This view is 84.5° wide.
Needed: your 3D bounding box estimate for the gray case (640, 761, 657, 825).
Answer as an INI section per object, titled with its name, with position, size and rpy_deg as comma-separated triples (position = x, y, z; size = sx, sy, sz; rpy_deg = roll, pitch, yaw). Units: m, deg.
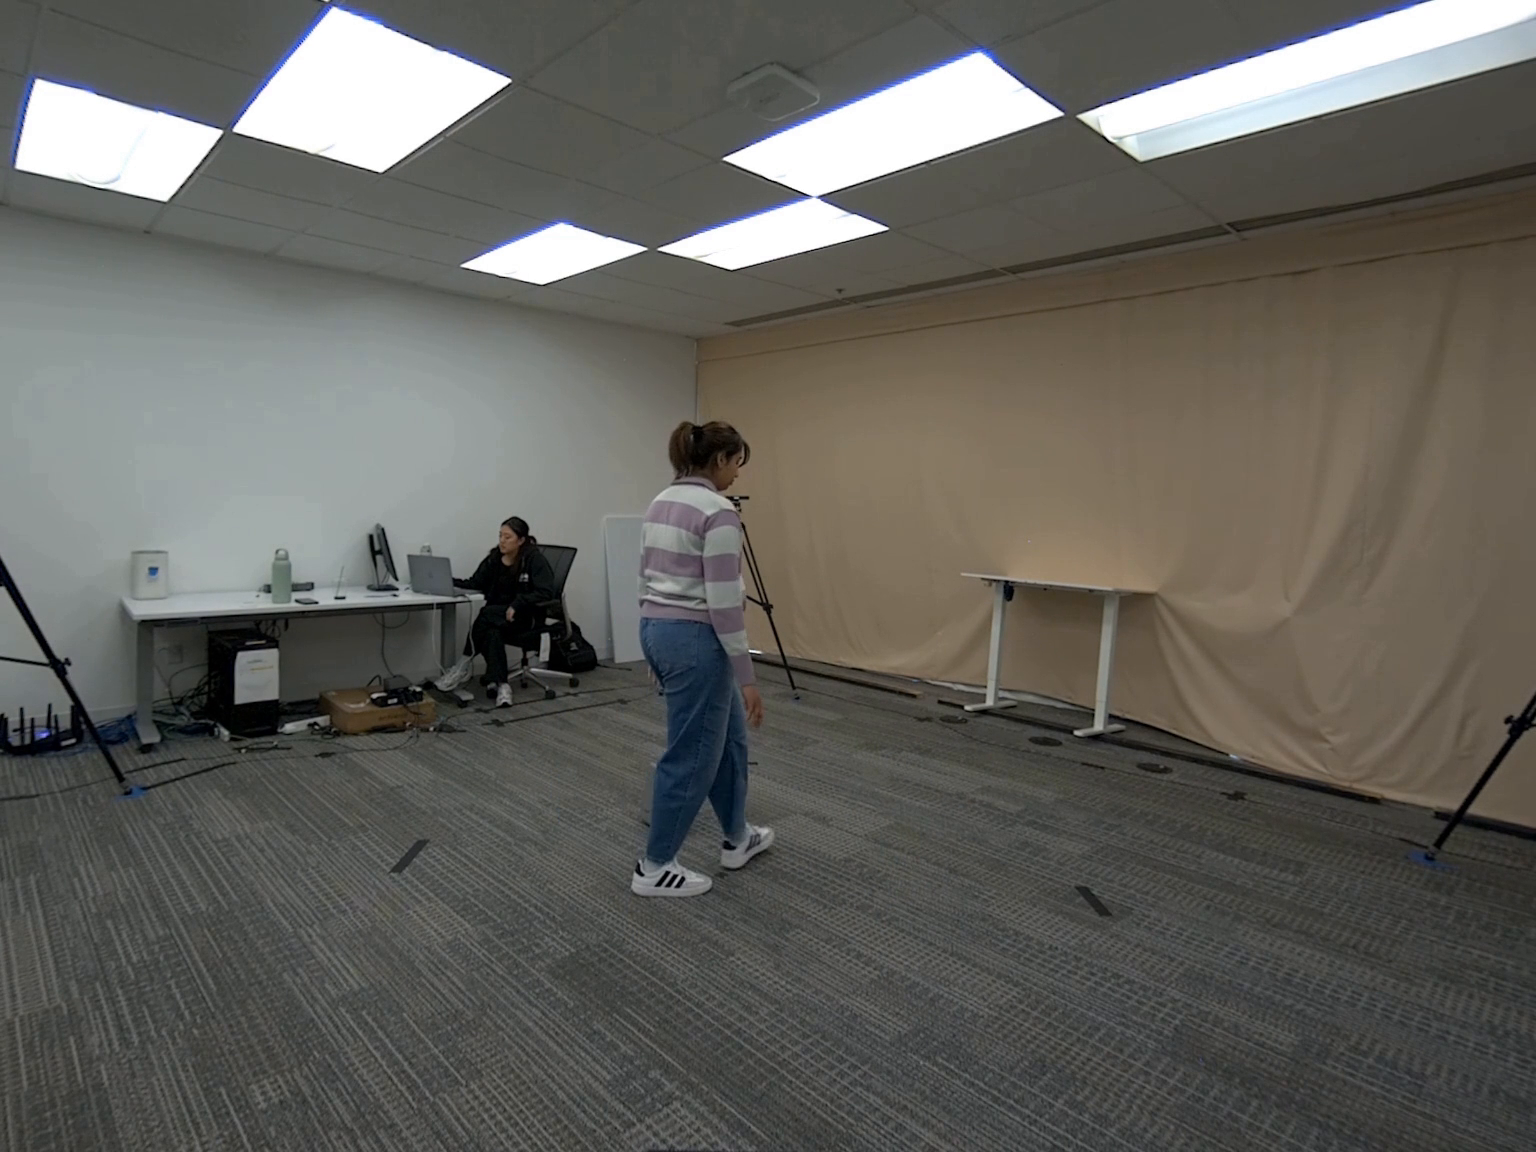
[gray case]
position = -0.431, 0.929, 3.531
size = 0.102, 0.261, 0.263
rpy_deg = 9, -1, -34
